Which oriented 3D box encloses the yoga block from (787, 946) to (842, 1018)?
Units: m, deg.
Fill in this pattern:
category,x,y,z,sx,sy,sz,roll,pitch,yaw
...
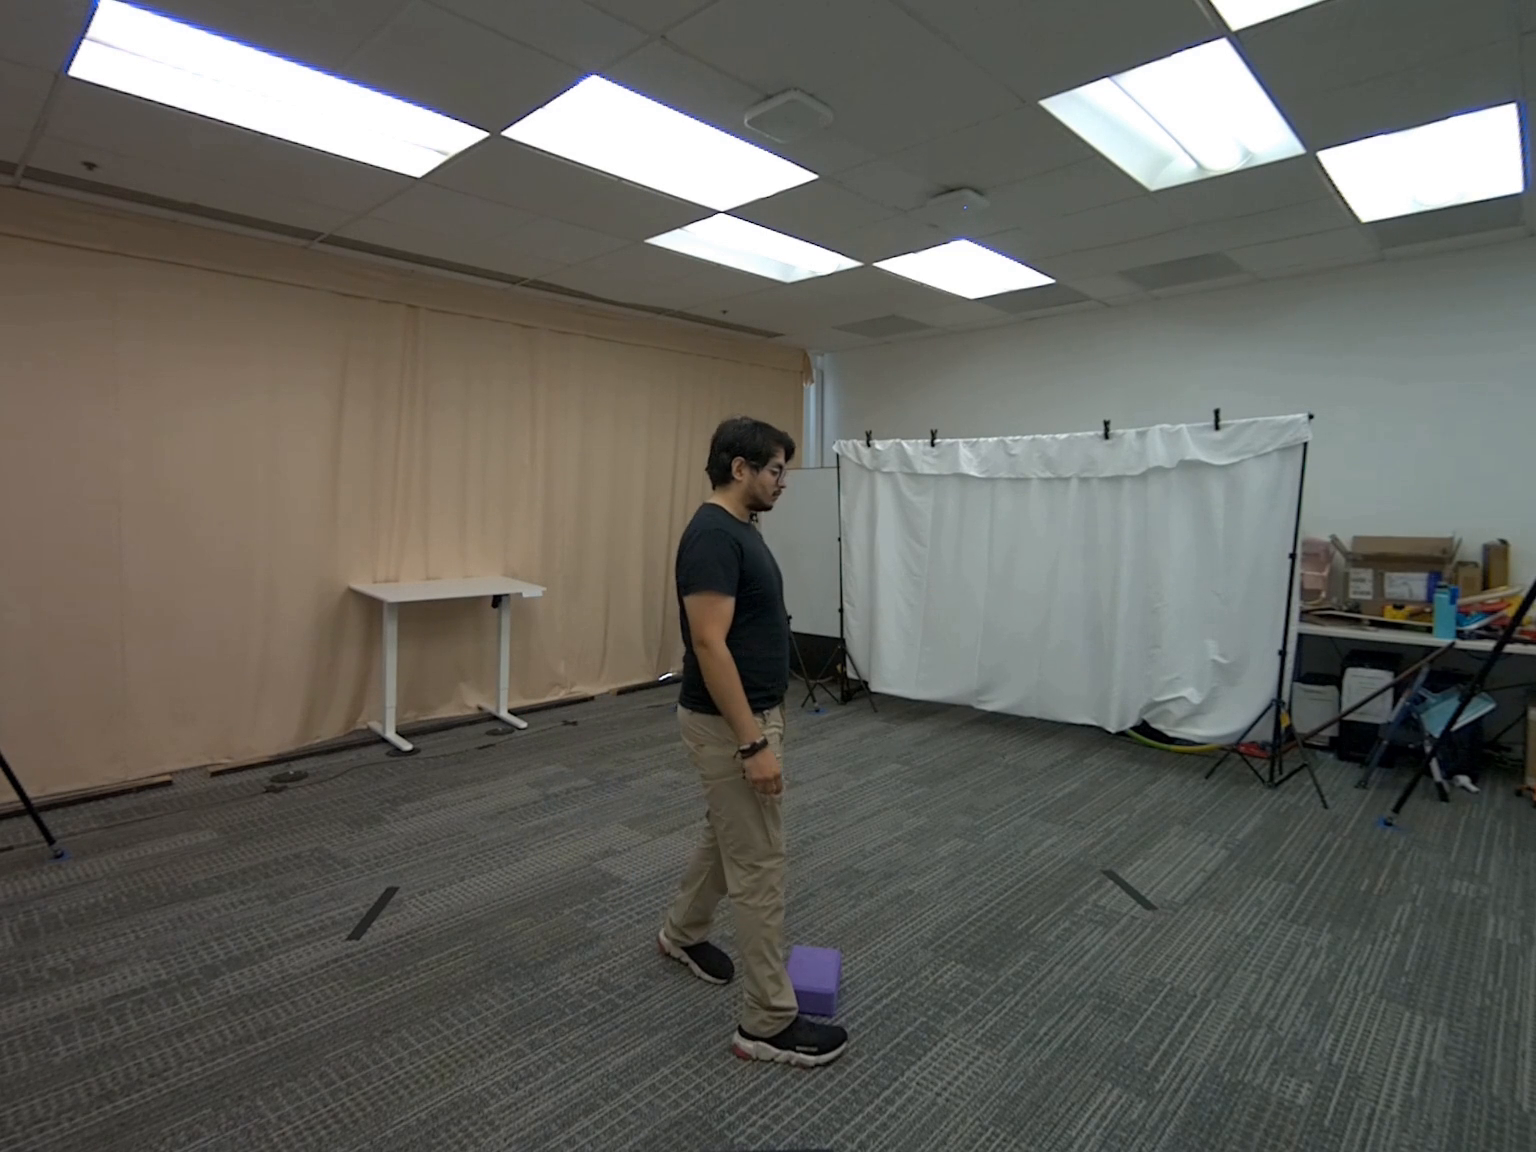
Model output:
category,x,y,z,sx,sy,sz,roll,pitch,yaw
yoga block,0.132,1.156,2.405,0.151,0.076,0.227,0,4,10
